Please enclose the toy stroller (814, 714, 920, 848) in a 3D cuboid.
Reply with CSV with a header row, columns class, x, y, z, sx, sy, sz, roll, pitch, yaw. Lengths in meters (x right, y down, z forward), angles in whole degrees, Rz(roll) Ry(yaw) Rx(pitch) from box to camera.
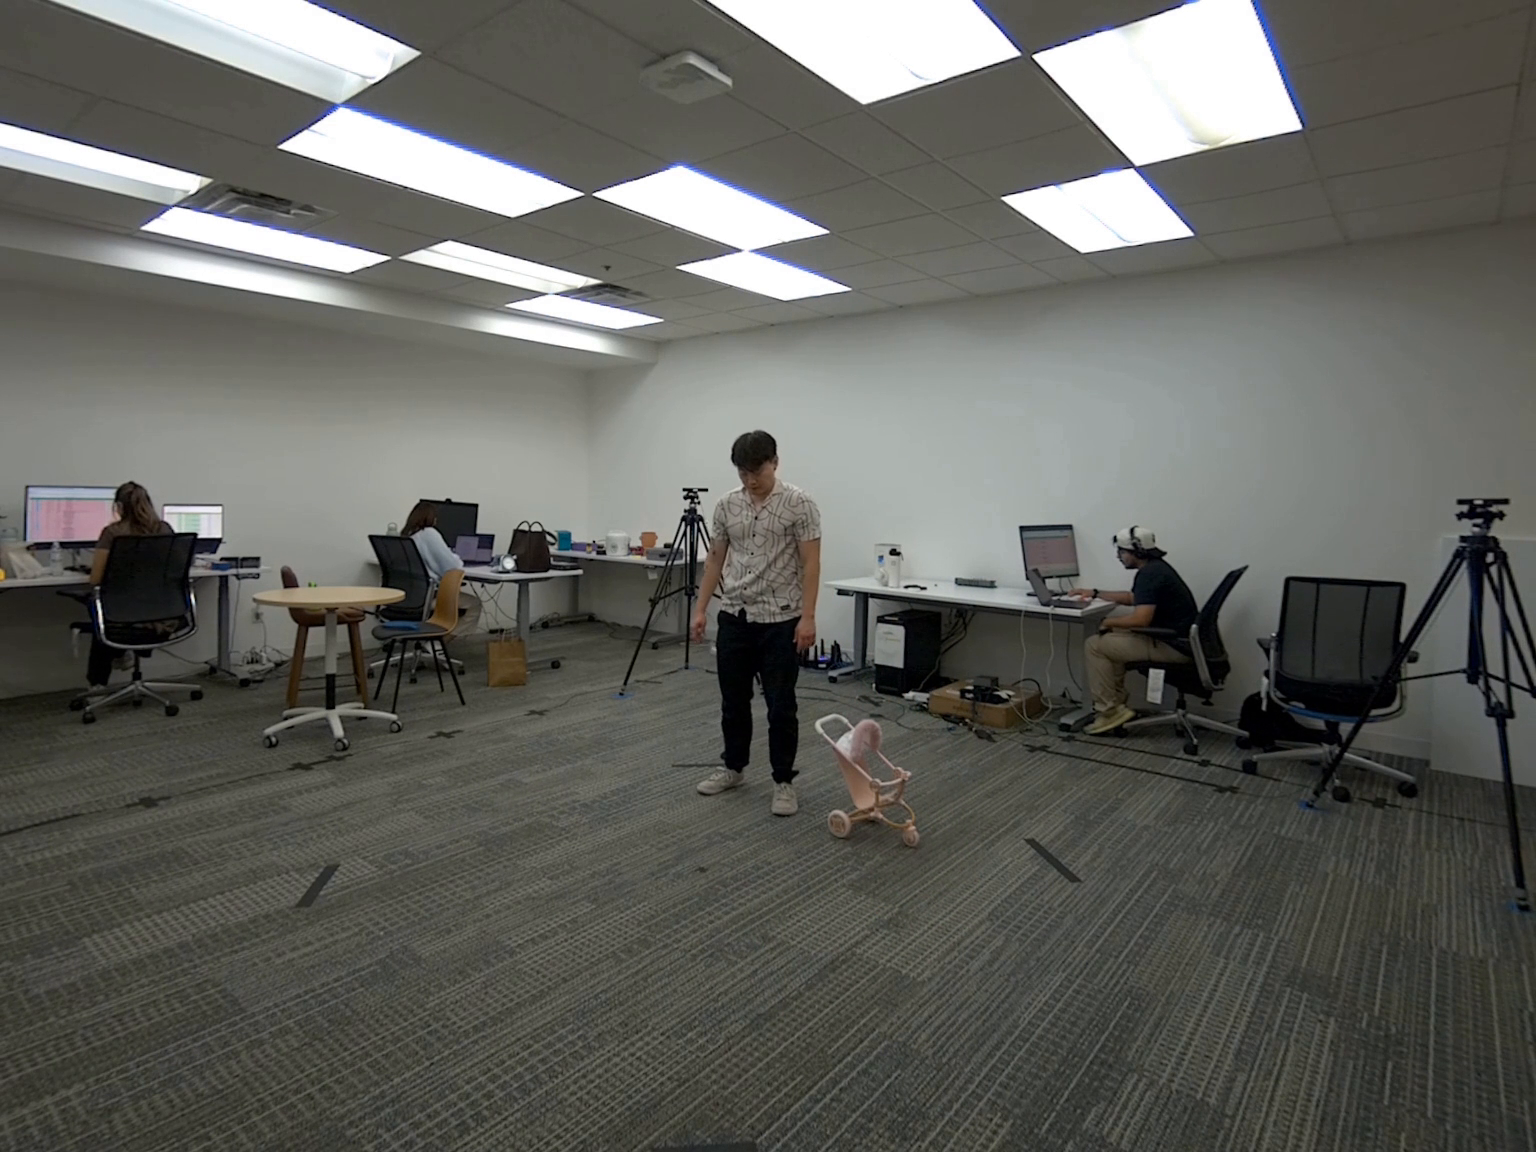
class,x,y,z,sx,sy,sz,roll,pitch,yaw
toy stroller,0.408,0.823,3.468,0.349,0.540,0.273,-17,-9,42
